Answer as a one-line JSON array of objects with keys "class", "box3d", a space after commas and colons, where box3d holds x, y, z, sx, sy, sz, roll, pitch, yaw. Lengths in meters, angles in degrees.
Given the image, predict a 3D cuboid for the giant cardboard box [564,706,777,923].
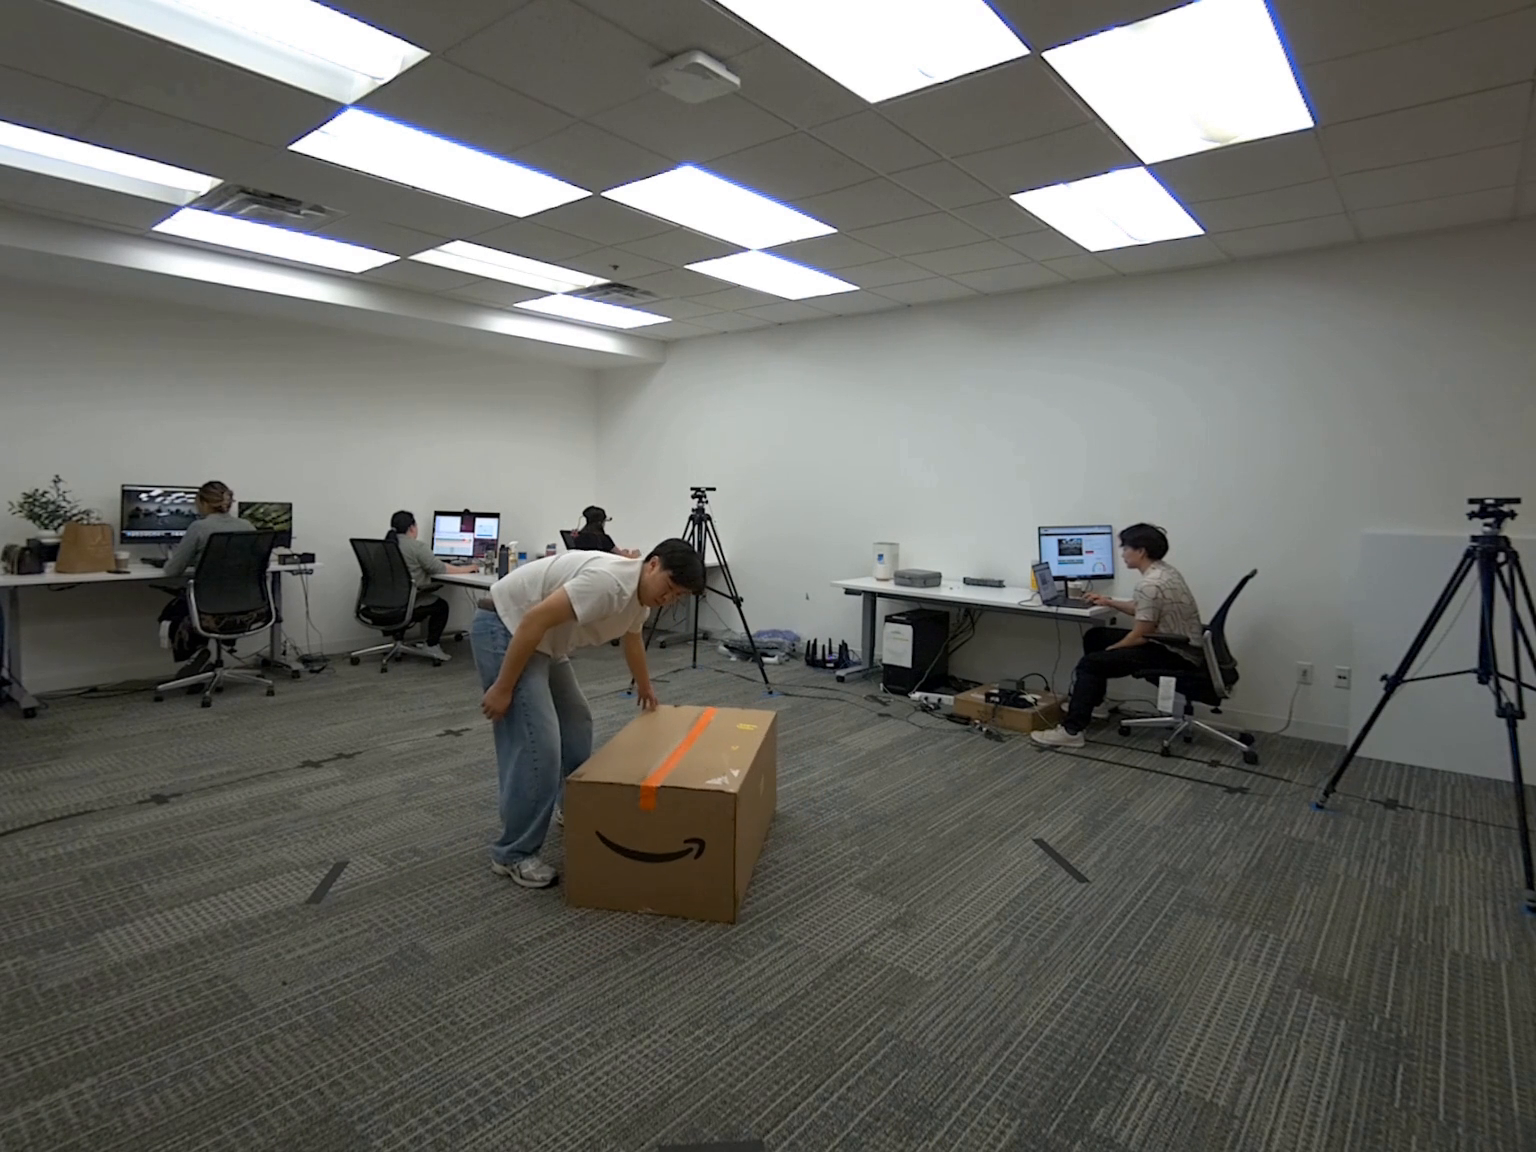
[{"class": "giant cardboard box", "box3d": [-0.323, 0.833, 3.235, 0.584, 0.425, 1.019, 1, 5, 8]}]
